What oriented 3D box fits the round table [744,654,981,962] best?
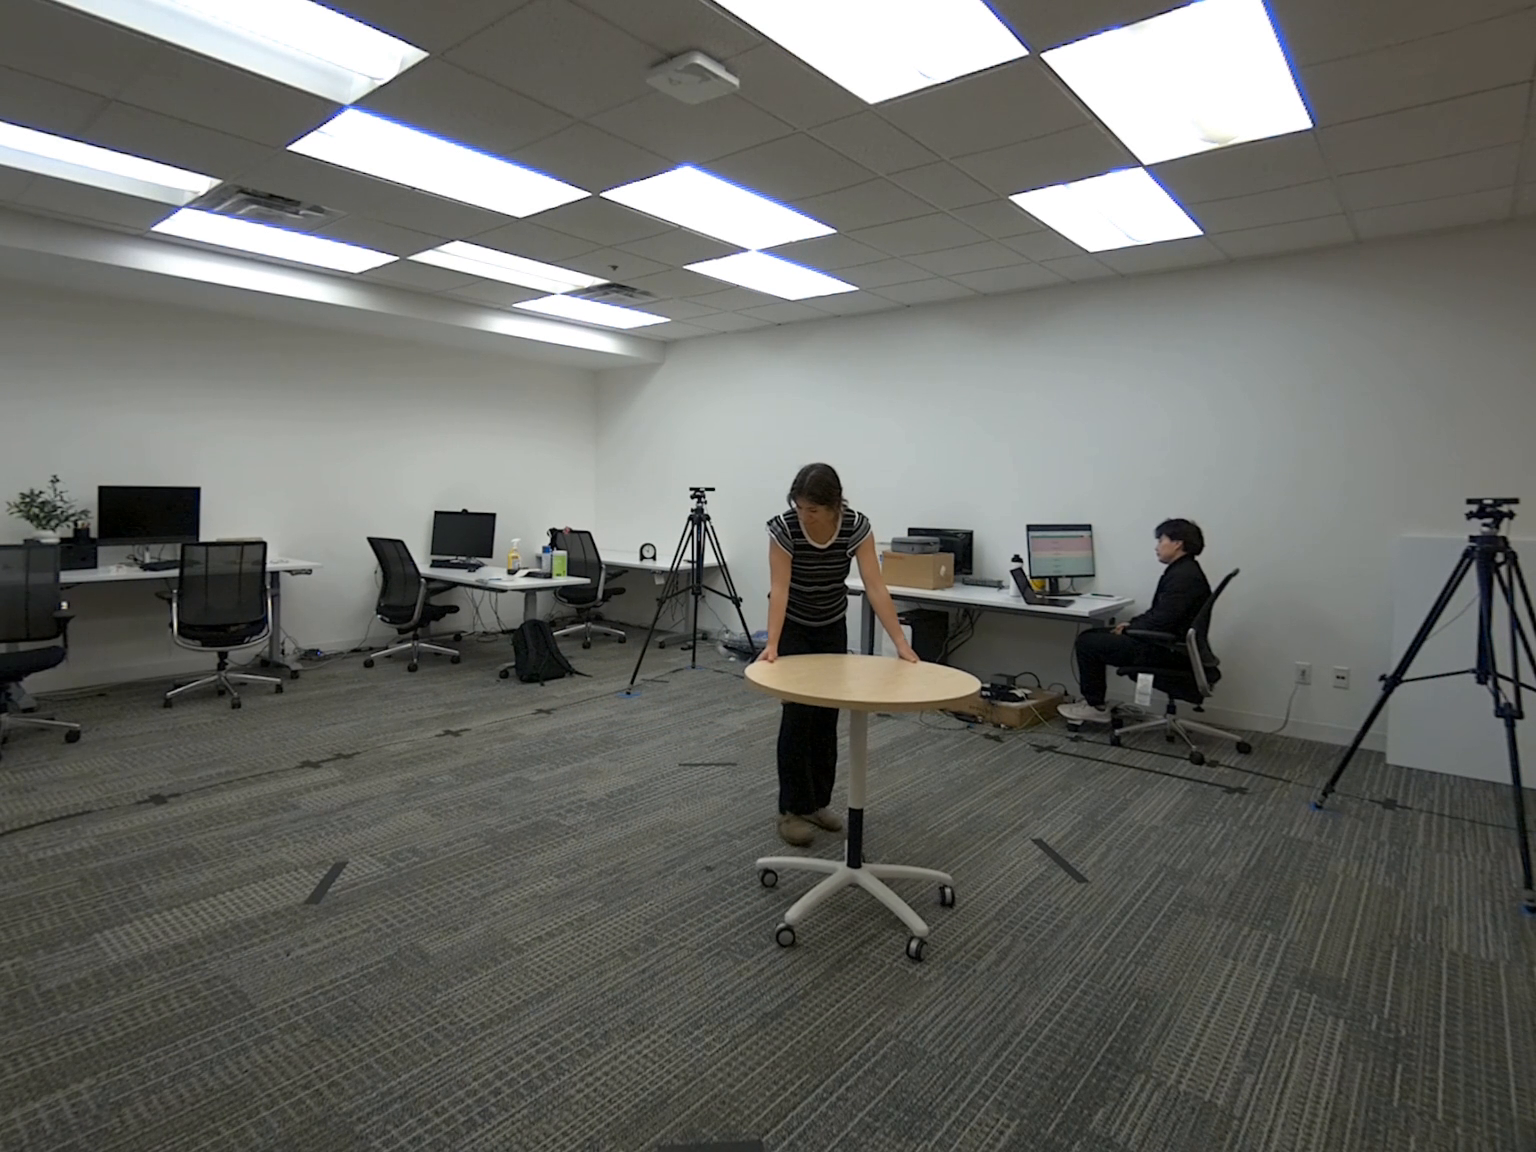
[{"bbox_3d":[0.285,0.718,2.823,0.763,0.792,0.767,1,4,-2],"label":"round table"}]
